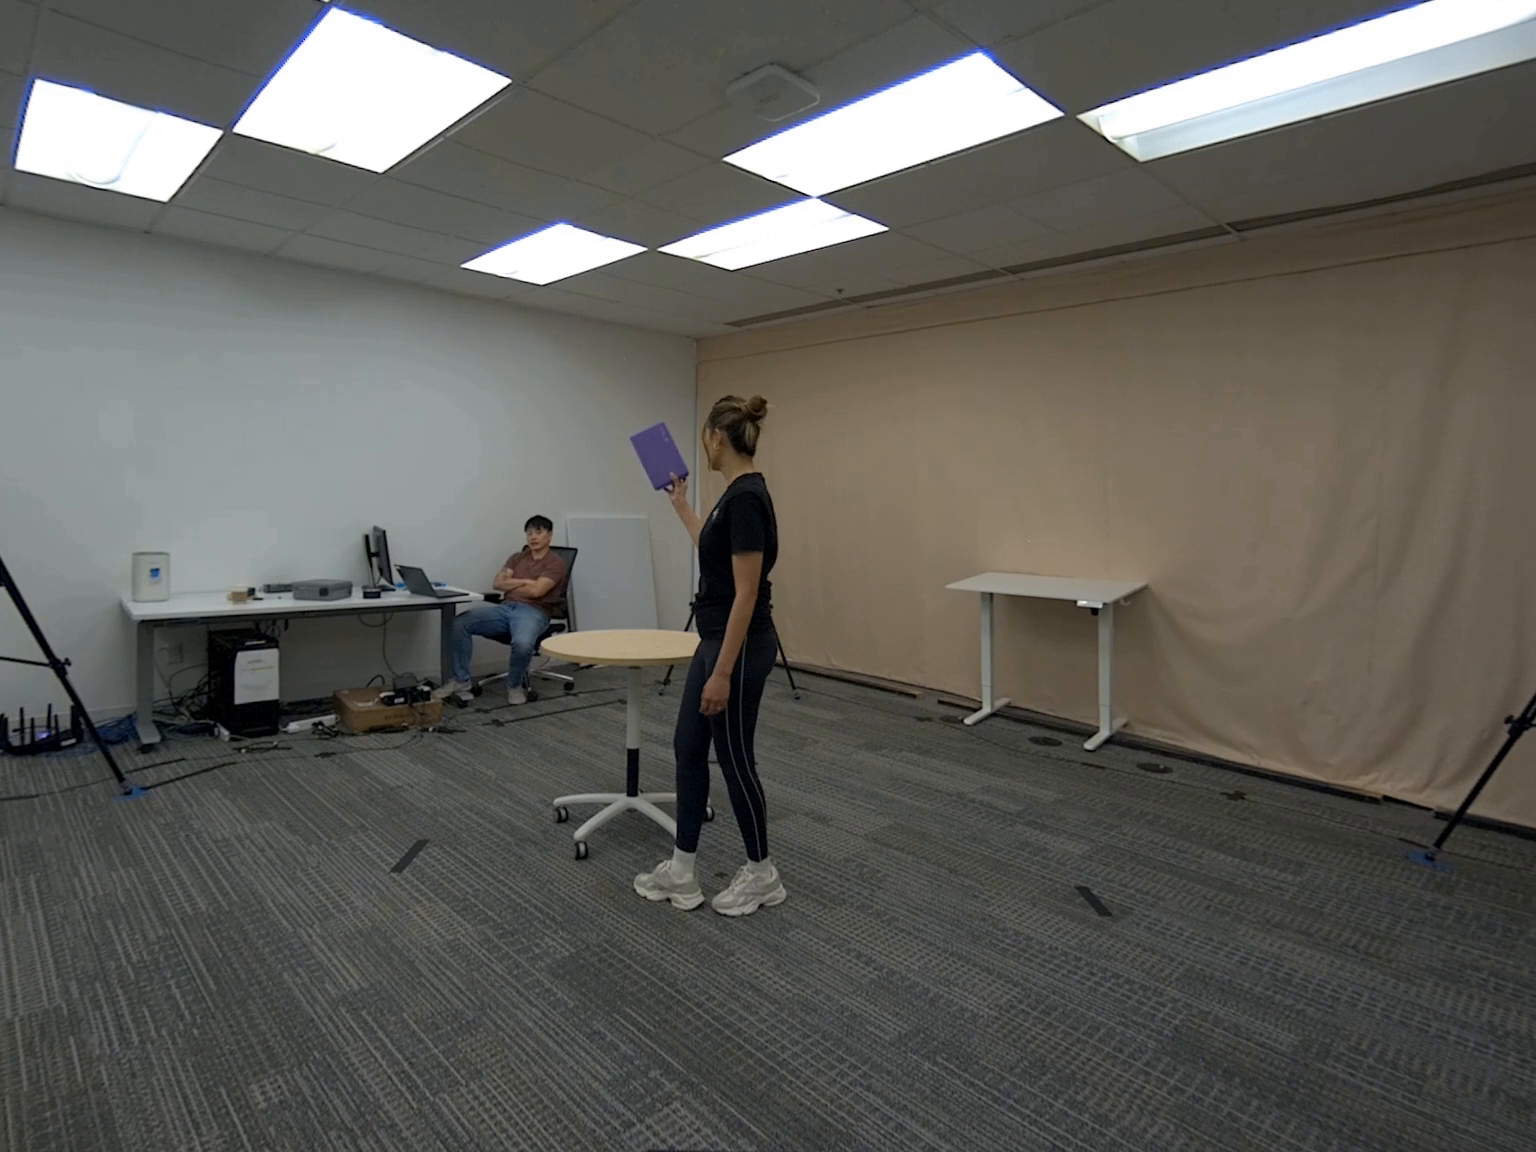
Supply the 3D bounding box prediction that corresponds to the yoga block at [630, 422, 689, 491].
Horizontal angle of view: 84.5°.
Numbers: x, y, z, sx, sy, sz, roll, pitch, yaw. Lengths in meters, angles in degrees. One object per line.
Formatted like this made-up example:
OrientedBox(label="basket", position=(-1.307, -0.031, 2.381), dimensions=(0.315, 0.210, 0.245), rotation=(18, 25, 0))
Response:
OrientedBox(label="yoga block", position=(-0.421, -0.463, 3.219), dimensions=(0.149, 0.229, 0.076), rotation=(-25, 2, 2))
